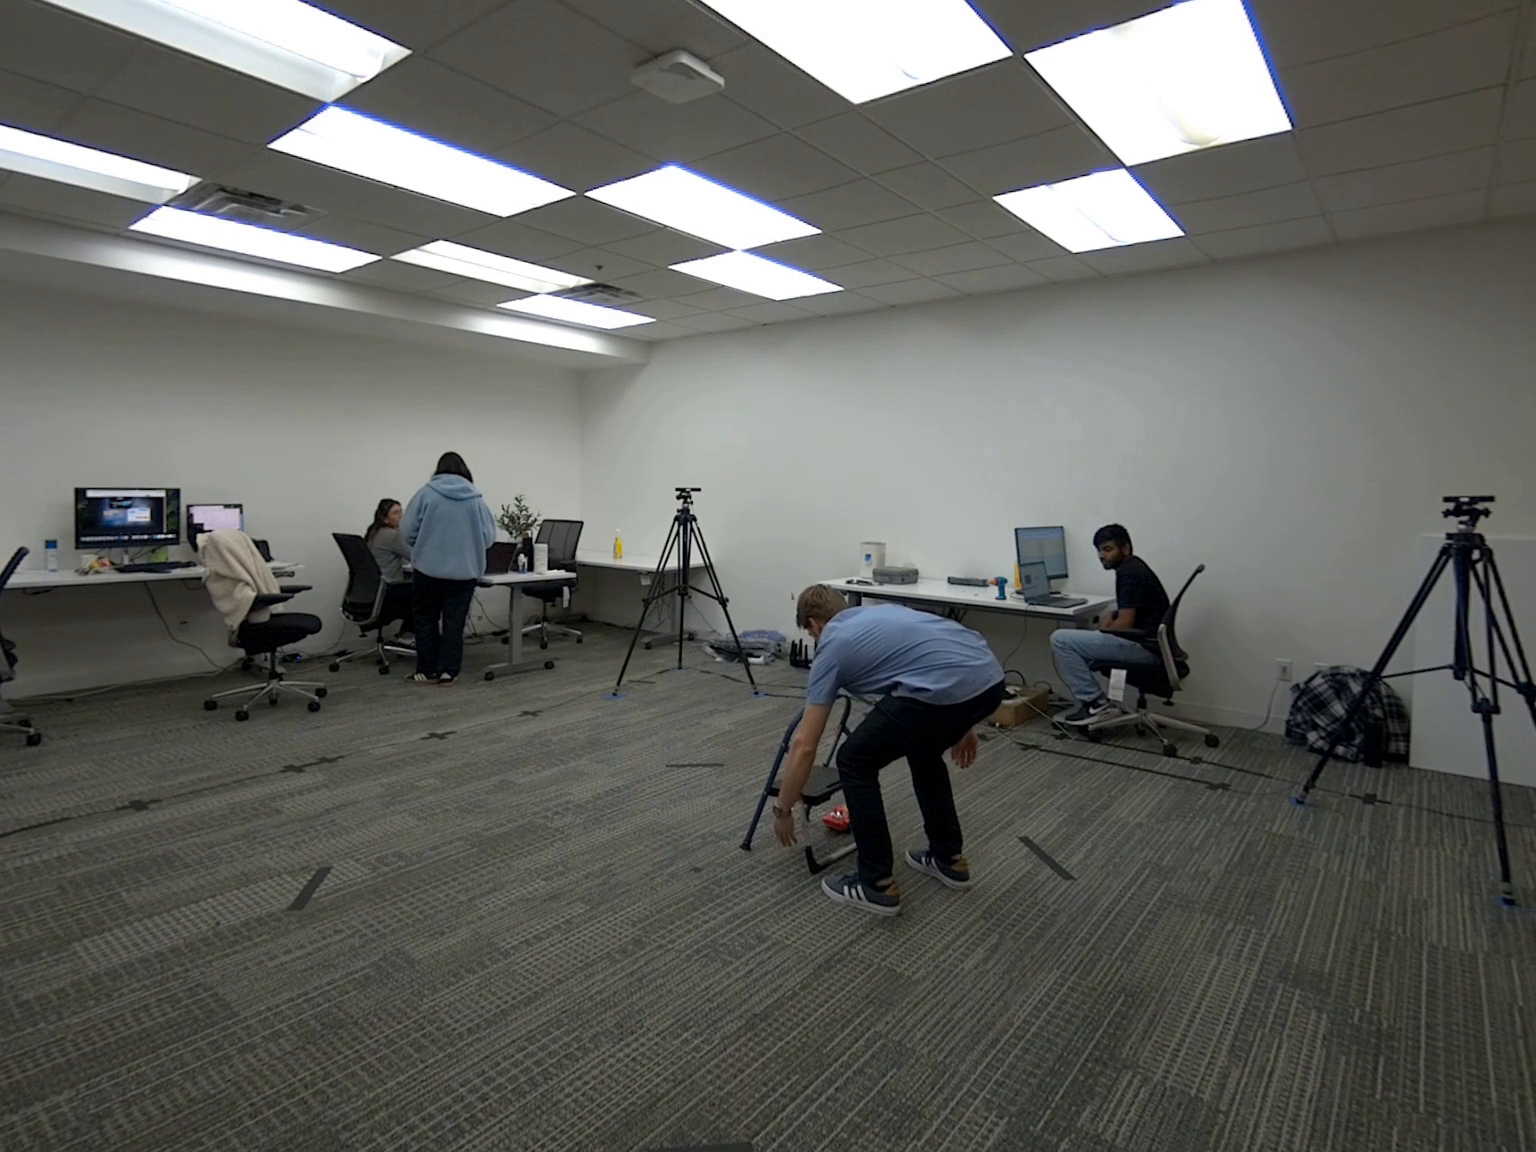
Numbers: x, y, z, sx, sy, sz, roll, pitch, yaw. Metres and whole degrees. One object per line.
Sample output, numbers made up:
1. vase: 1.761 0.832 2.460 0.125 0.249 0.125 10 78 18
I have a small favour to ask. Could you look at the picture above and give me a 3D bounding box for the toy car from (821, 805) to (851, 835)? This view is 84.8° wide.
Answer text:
1. toy car: 0.317 1.009 3.543 0.135 0.083 0.245 6 -4 39
